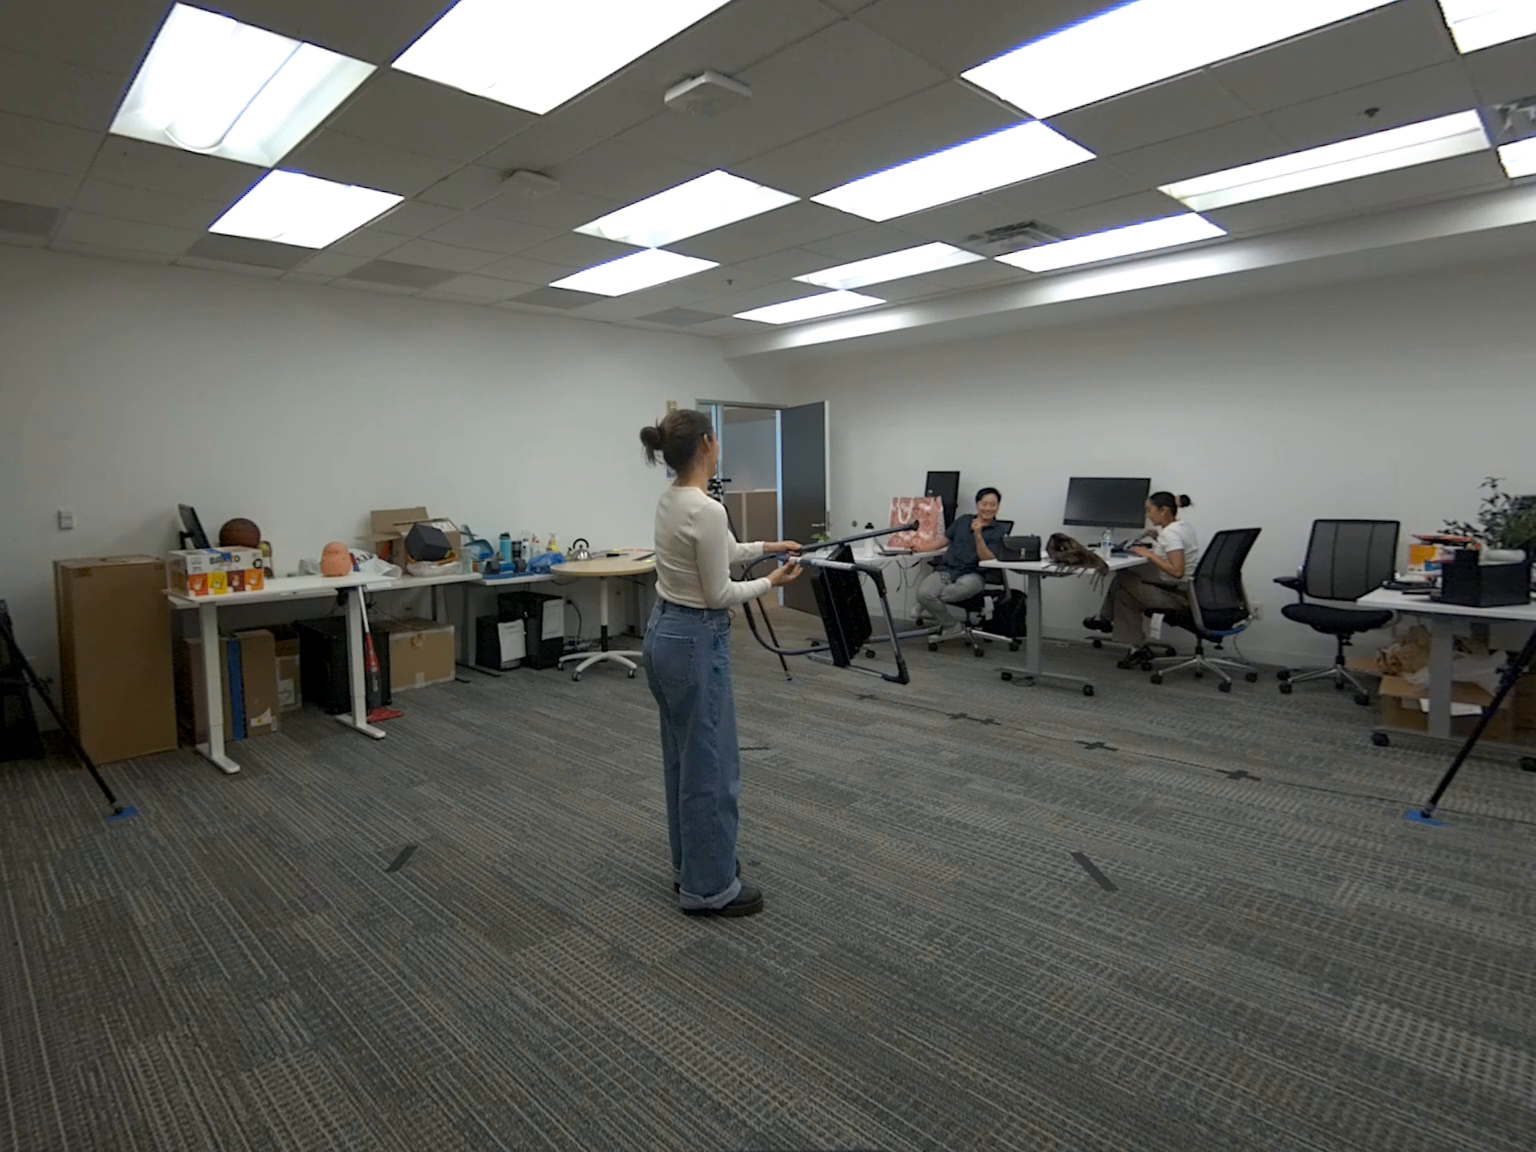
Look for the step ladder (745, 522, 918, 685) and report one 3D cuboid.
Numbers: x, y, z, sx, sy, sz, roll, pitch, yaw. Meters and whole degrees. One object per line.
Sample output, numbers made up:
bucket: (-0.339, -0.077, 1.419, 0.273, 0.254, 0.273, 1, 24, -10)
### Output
step ladder: (0.213, 0.084, 2.923, 0.622, 0.421, 0.348, -3, 25, 36)
